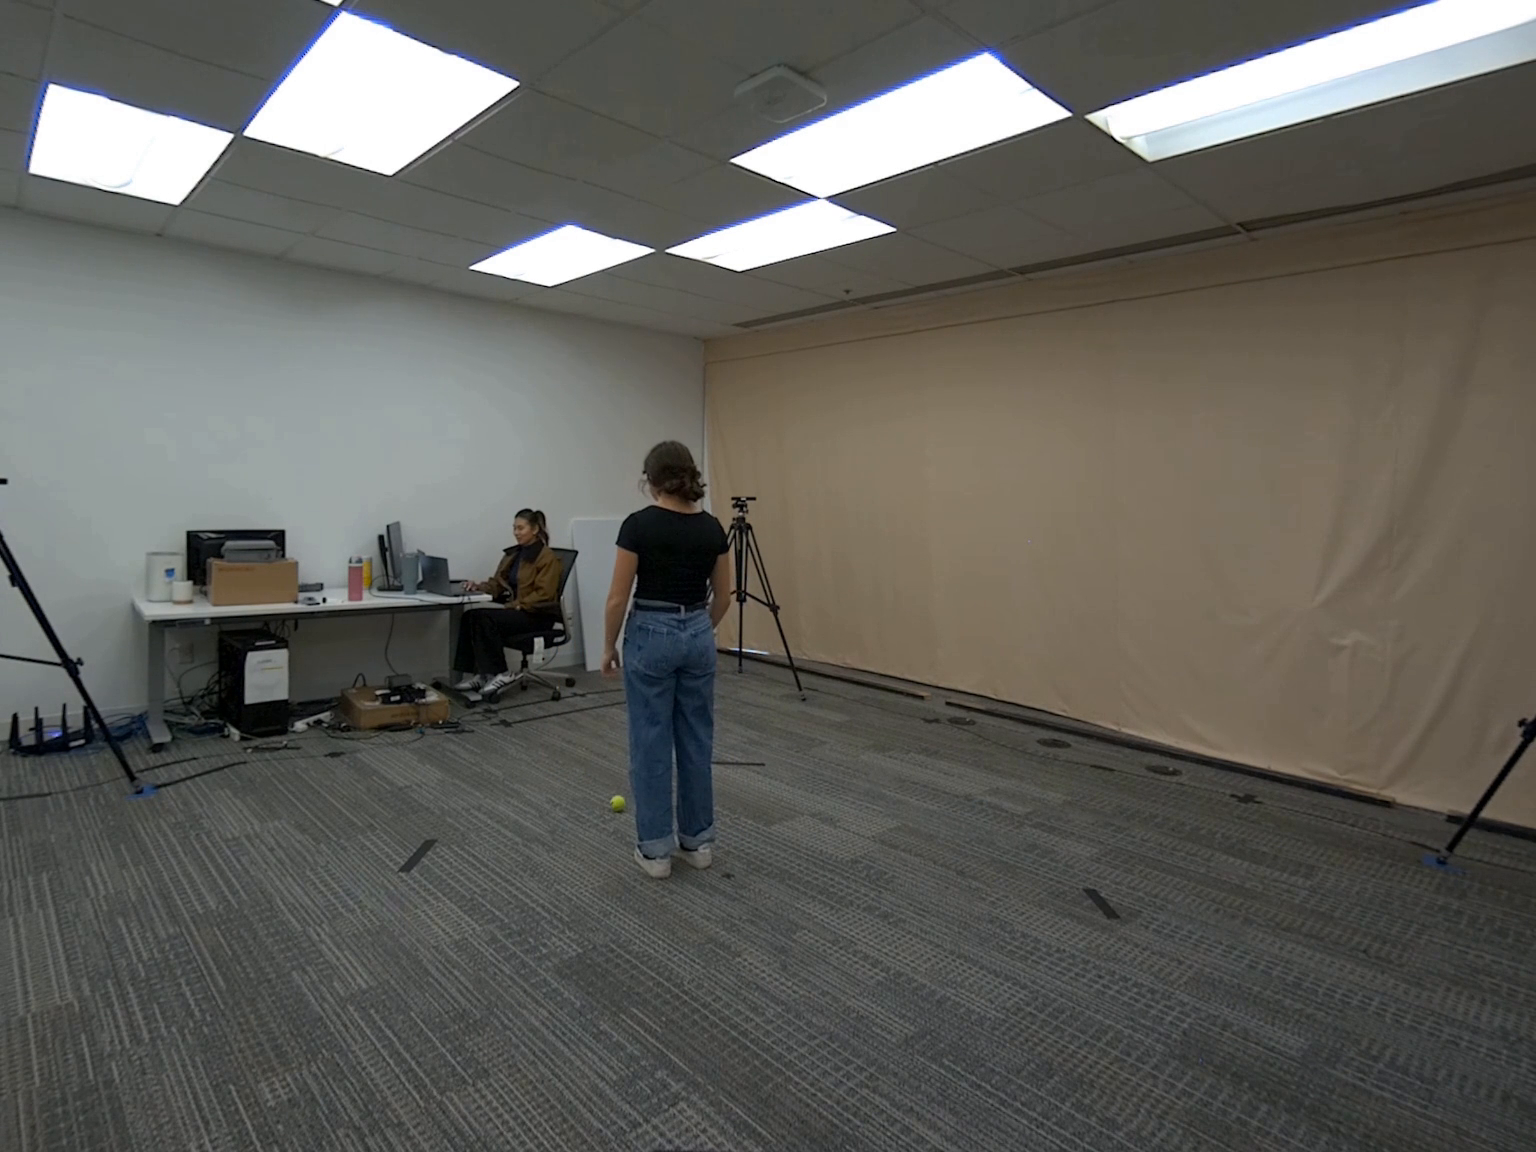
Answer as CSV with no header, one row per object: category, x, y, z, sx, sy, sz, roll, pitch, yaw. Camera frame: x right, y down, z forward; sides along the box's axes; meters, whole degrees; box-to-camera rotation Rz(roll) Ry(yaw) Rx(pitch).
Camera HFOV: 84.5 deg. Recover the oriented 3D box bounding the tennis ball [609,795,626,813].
tennis ball,-0.671,1.002,3.722,0.066,0.066,0.067,1,4,-1
